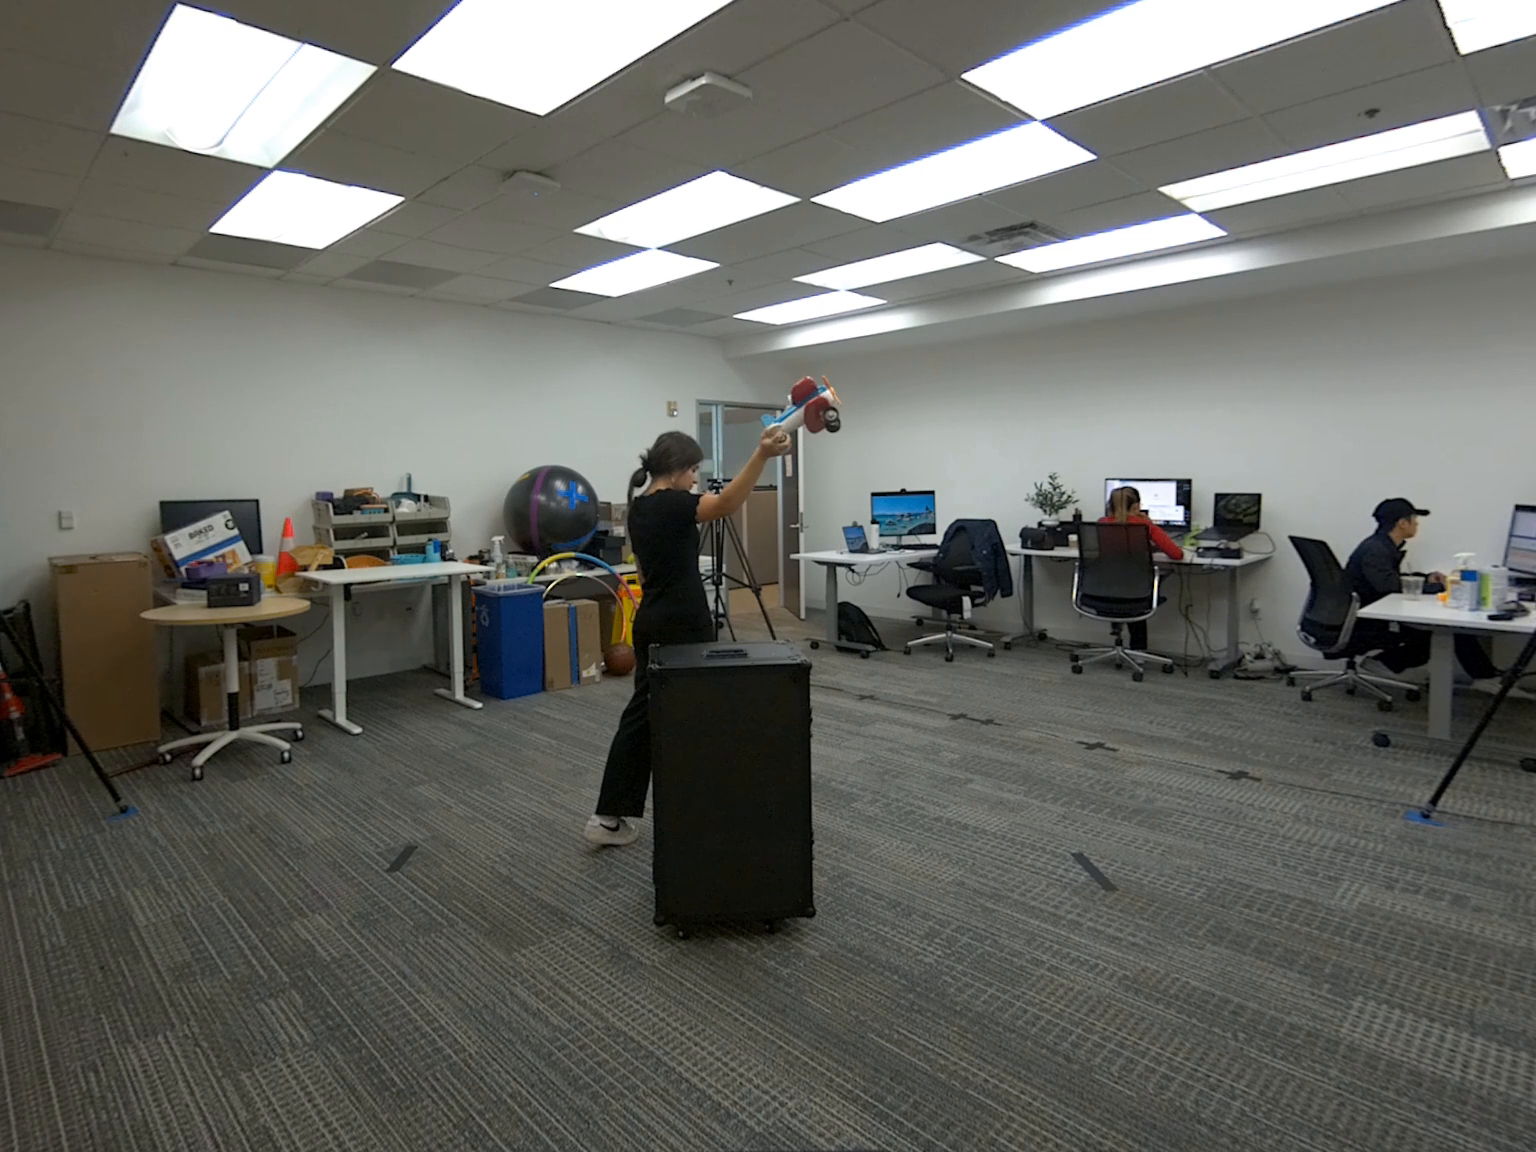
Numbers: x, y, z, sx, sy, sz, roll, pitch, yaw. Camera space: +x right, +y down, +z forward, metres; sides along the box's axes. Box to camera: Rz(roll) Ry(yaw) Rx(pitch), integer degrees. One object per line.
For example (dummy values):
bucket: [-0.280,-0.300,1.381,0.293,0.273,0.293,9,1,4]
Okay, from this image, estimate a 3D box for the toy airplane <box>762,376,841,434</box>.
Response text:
toy airplane: [0.119,-0.532,2.818,0.255,0.159,0.250,-13,-17,-22]
